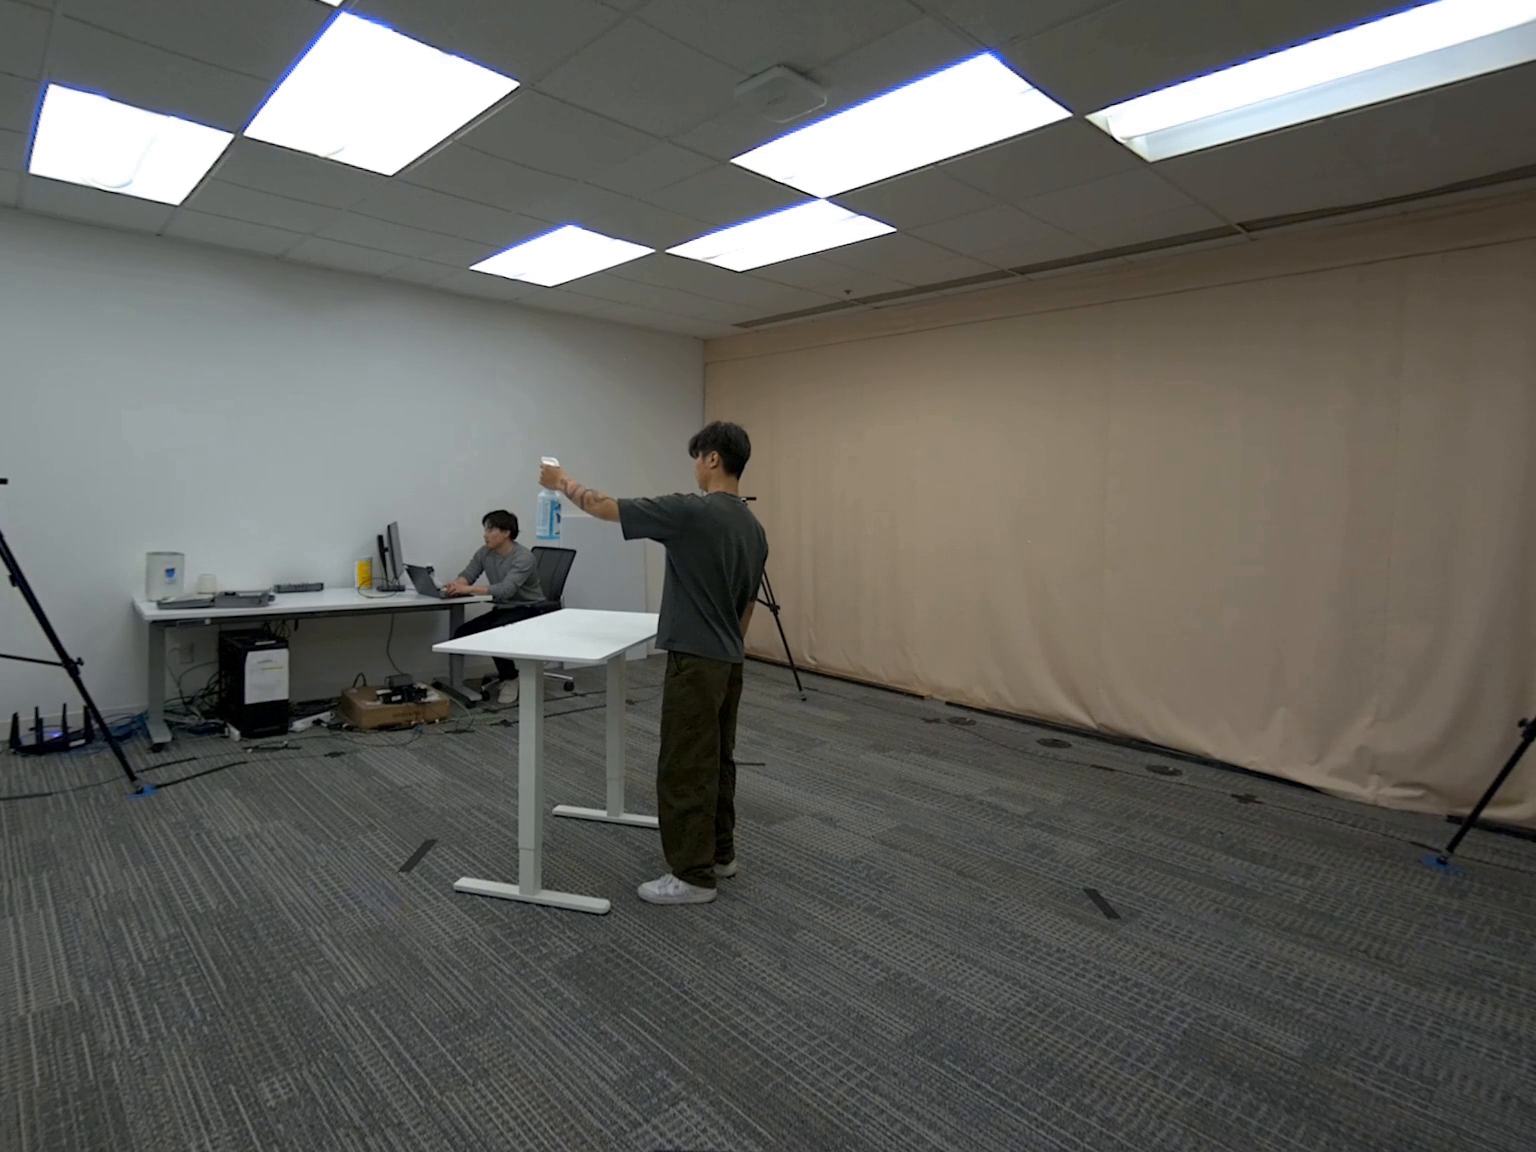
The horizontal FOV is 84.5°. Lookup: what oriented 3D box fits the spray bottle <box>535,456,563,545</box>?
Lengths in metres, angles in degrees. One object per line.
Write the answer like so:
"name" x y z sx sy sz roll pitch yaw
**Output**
"spray bottle" -0.798 -0.278 3.072 0.085 0.296 0.092 3 5 -28
